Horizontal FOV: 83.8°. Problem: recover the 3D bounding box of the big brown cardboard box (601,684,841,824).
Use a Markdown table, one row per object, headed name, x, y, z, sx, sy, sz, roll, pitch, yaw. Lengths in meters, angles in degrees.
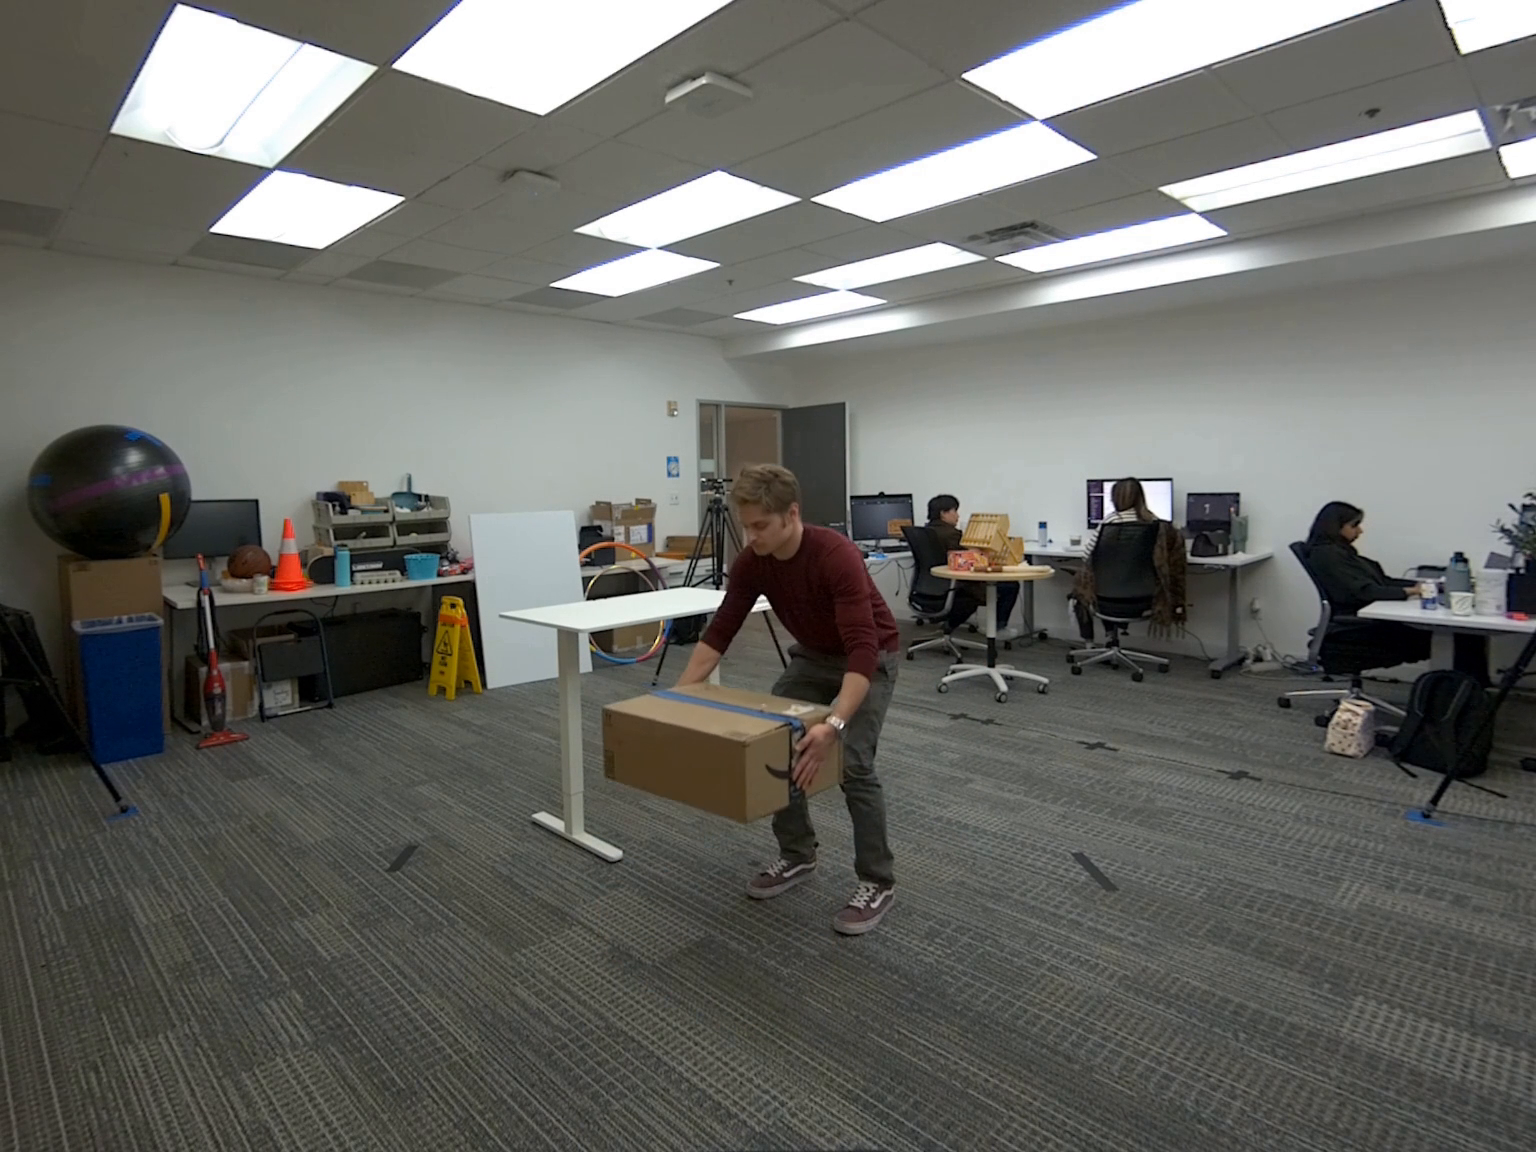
| name | x | y | z | sx | sy | sz | roll | pitch | yaw |
| --- | --- | --- | --- | --- | --- | --- | --- | --- | --- |
| big brown cardboard box | -0.128 | 0.489 | 2.475 | 0.606 | 0.232 | 0.407 | 3 | 7 | 42 |
